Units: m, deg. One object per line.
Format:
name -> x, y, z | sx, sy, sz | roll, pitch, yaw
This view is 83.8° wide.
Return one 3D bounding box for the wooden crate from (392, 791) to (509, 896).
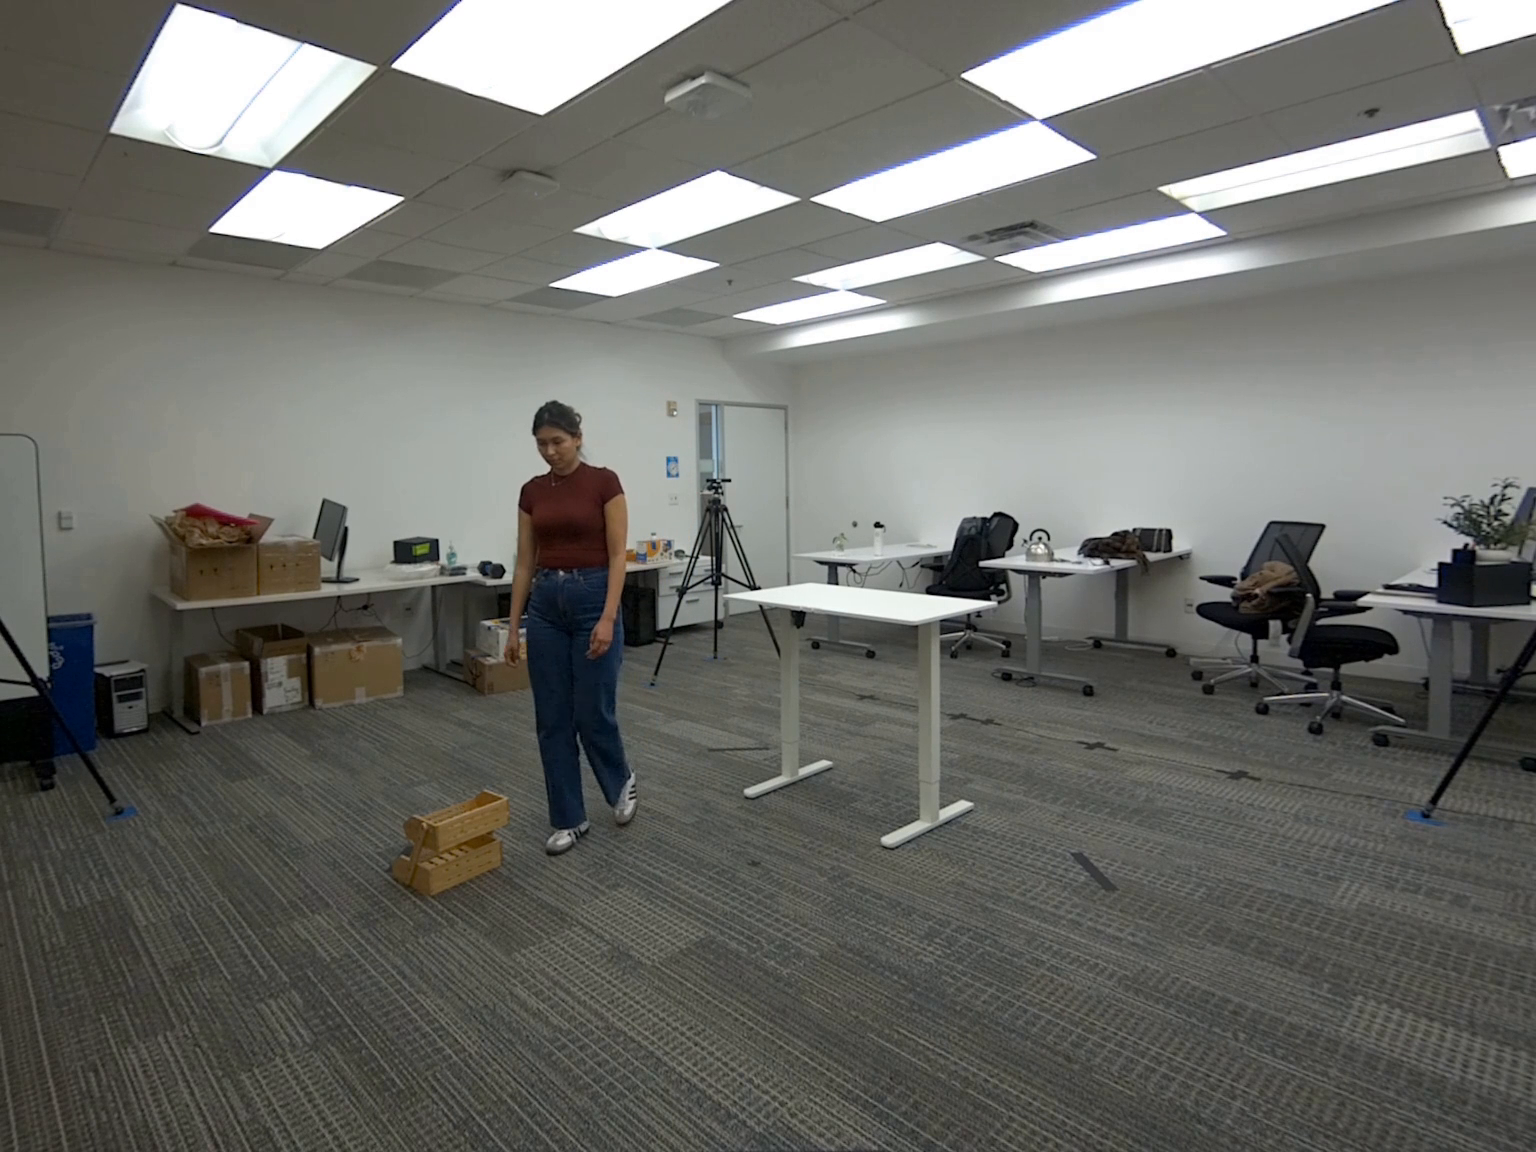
wooden crate -> -1.142, 0.938, 3.080 | 0.311, 0.272, 0.316 | 3, 7, 37
